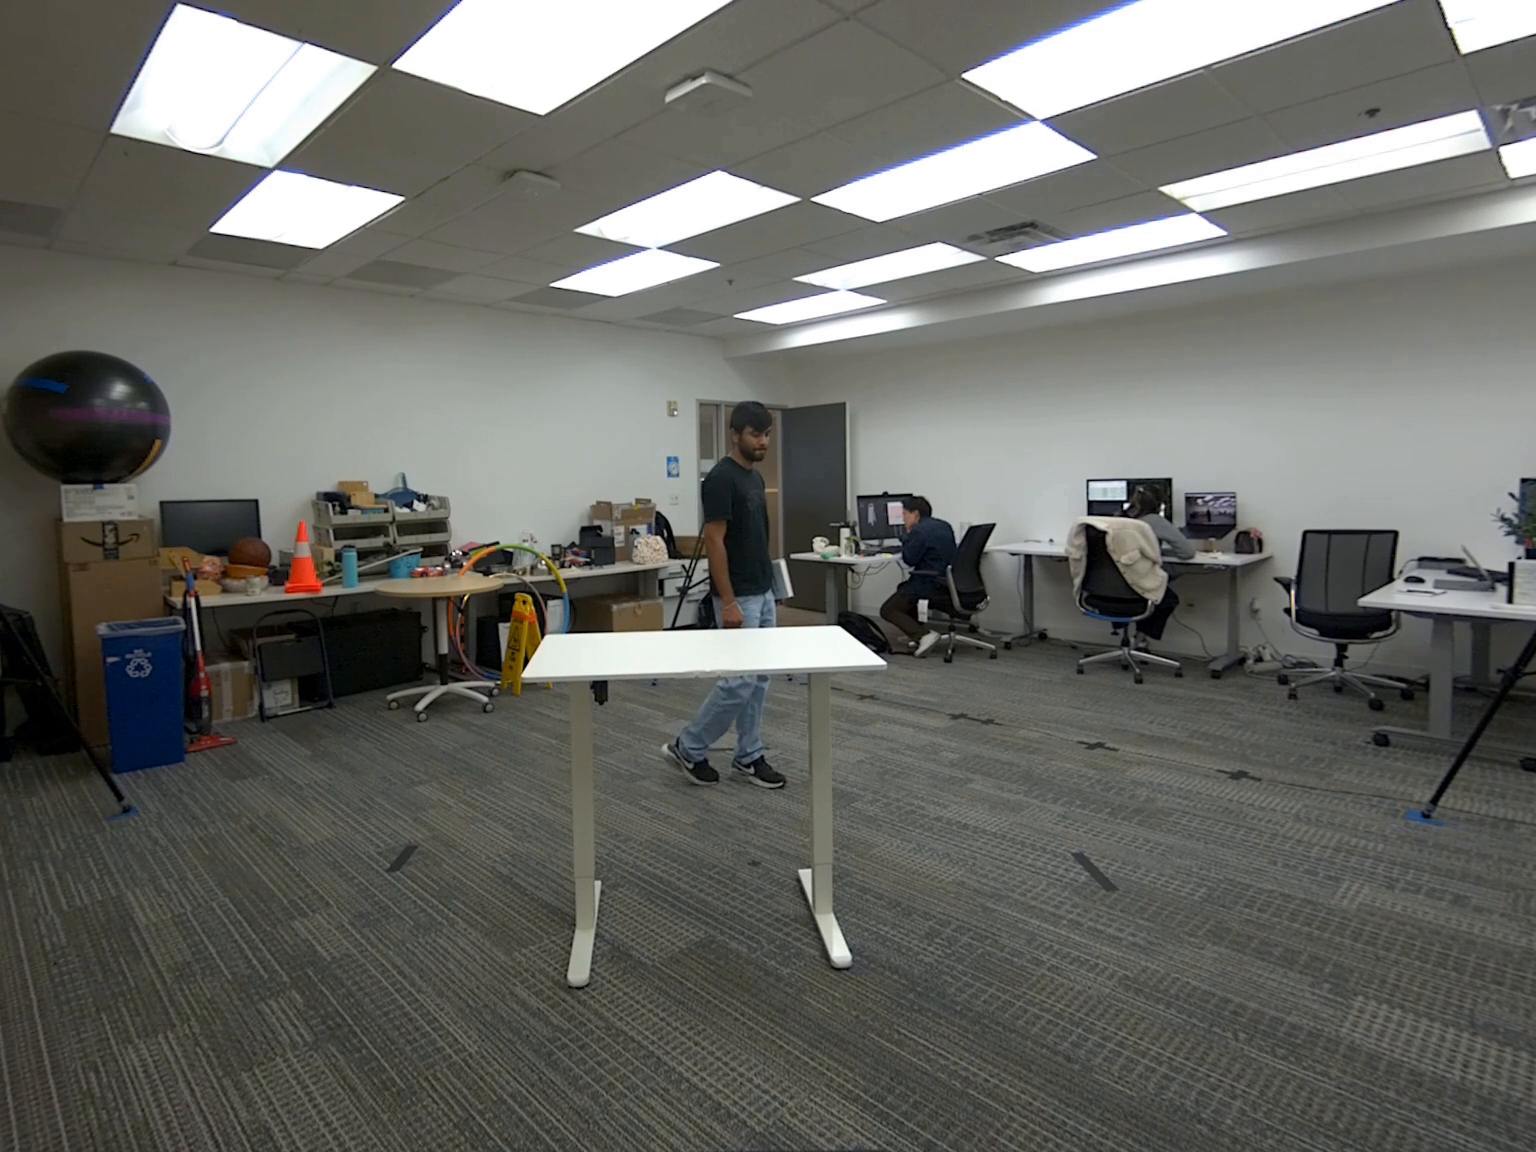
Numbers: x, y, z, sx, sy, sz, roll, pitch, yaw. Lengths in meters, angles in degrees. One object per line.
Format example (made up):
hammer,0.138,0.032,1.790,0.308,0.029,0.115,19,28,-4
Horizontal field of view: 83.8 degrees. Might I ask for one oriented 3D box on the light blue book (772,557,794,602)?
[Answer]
light blue book,-0.030,0.026,4.065,0.266,0.190,0.058,-9,9,27
